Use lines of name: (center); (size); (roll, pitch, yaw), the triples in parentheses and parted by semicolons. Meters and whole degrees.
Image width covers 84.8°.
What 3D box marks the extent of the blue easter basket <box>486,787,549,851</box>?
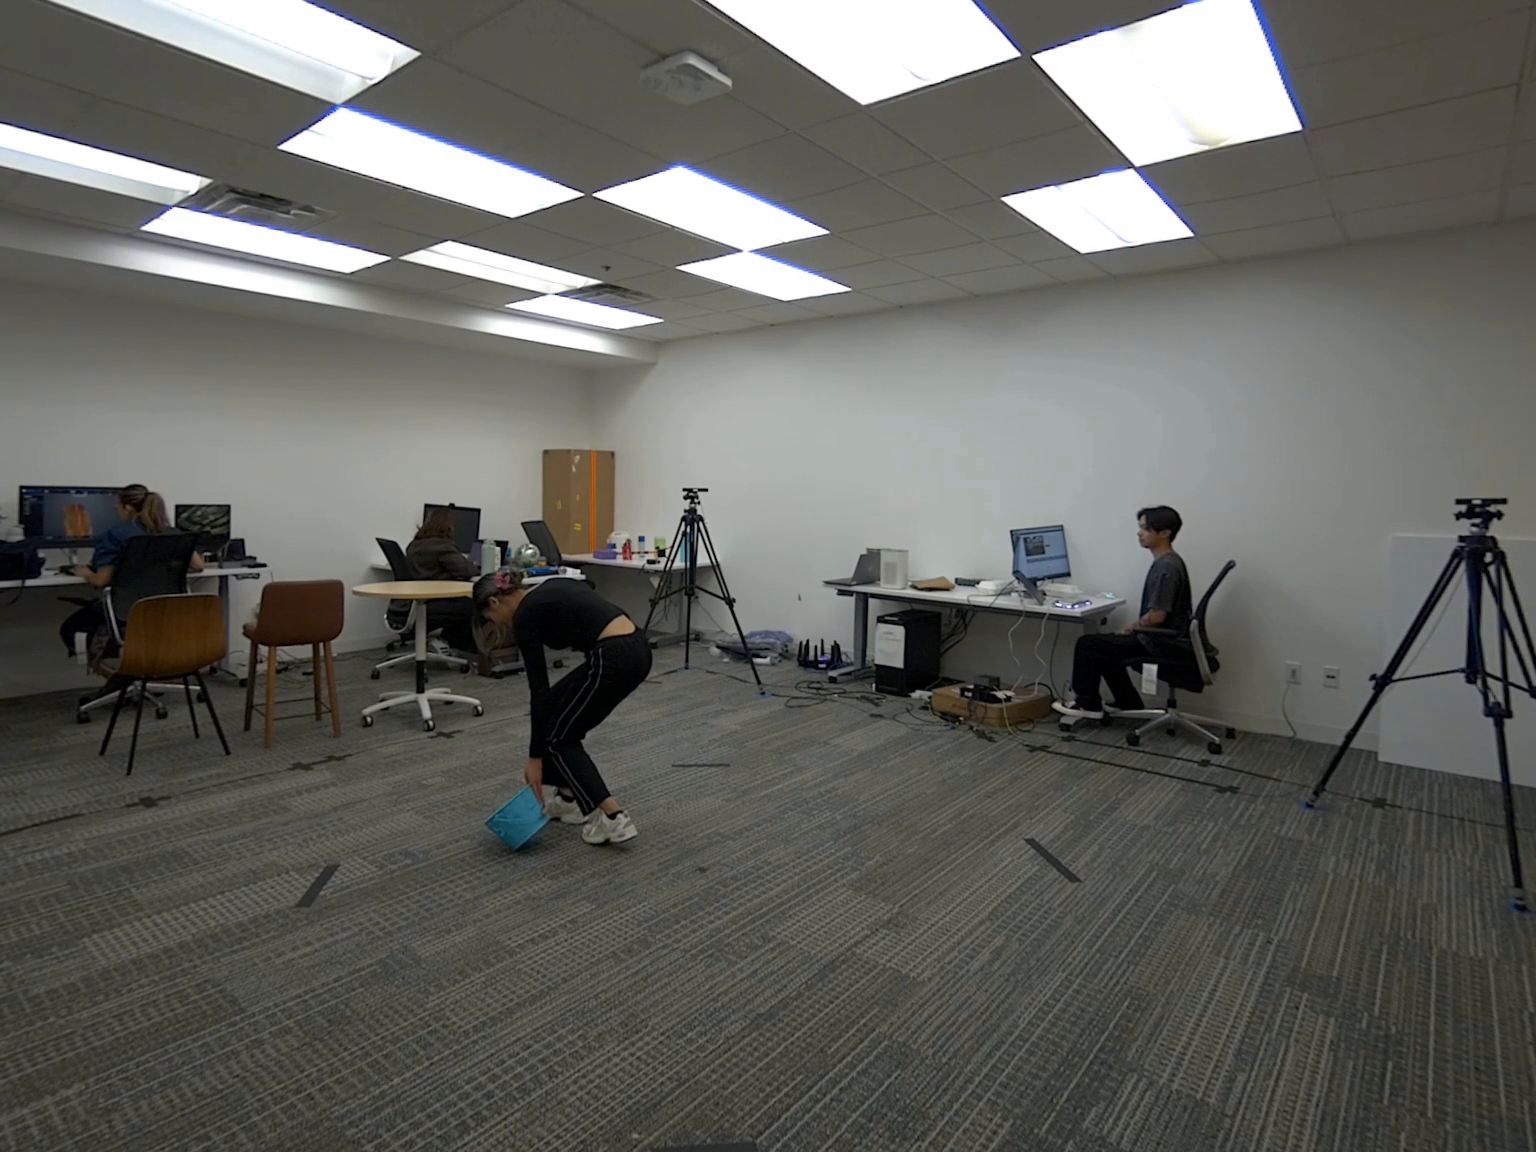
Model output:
blue easter basket: (-0.988, 0.934, 3.262); (0.243, 0.157, 0.242); (-41, -4, -7)
